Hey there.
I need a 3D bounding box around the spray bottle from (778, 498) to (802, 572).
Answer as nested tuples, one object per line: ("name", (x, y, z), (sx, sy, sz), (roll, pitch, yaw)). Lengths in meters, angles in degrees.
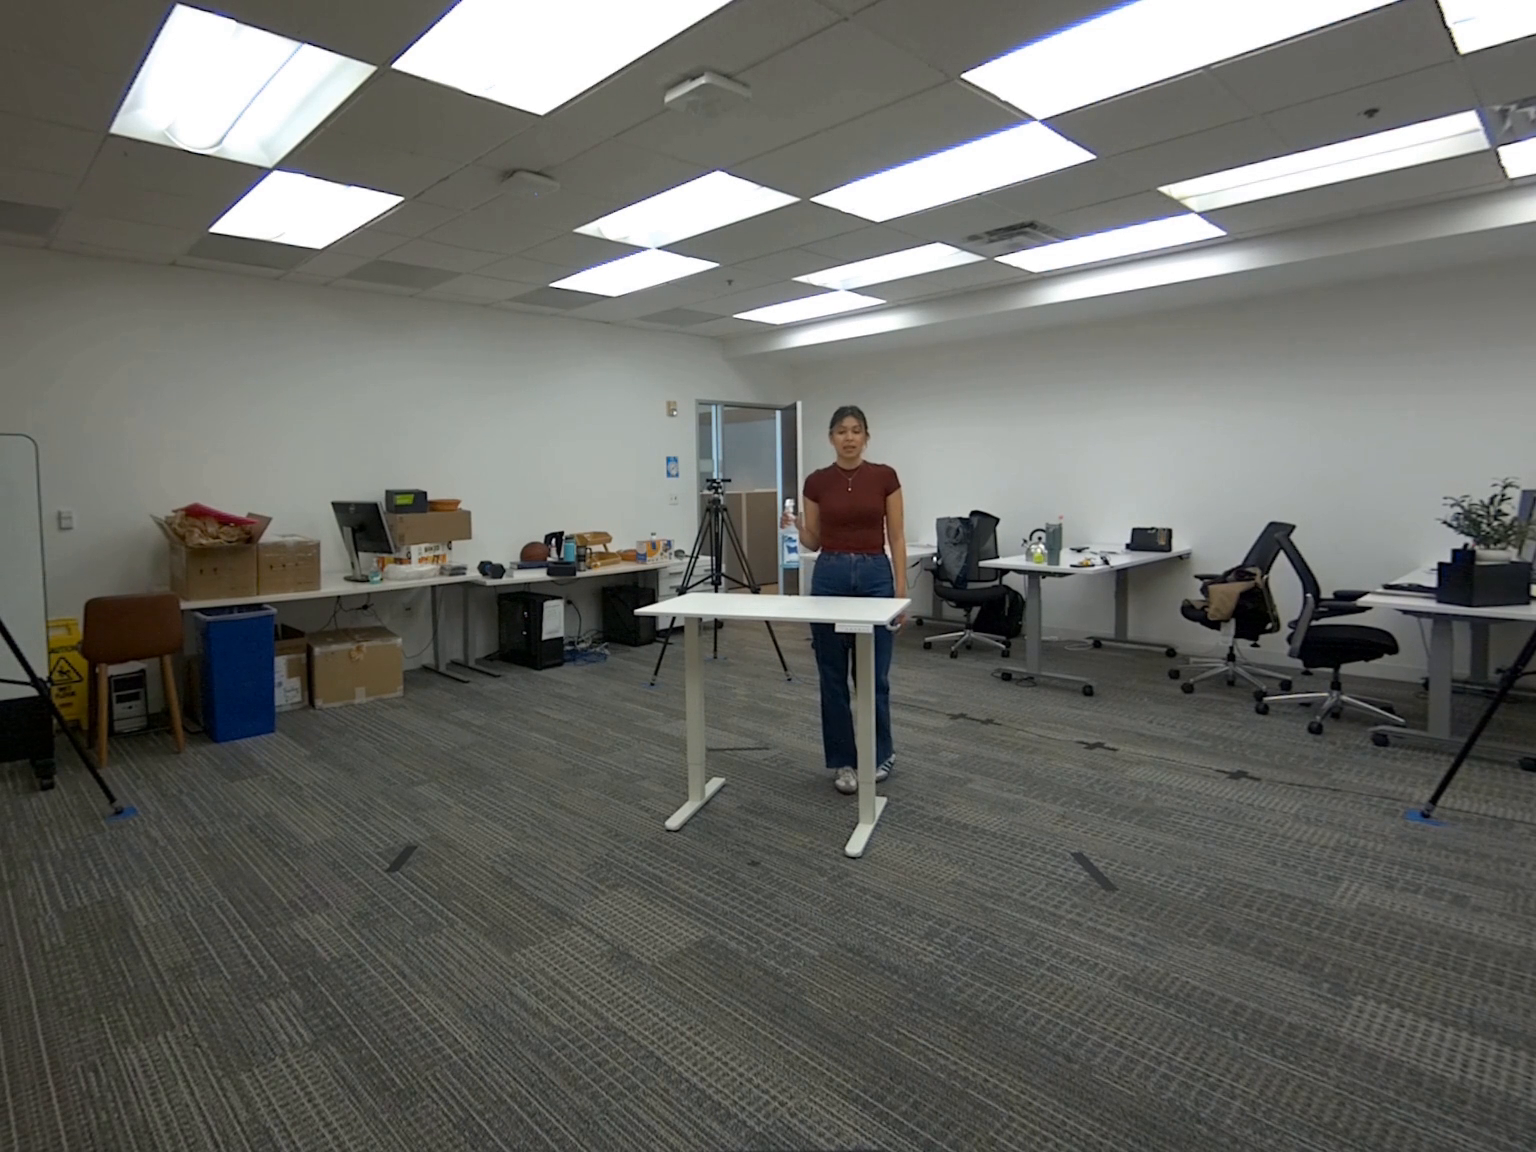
("spray bottle", (0.098, -0.184, 3.713), (0.089, 0.297, 0.087), (1, 0, 42))
